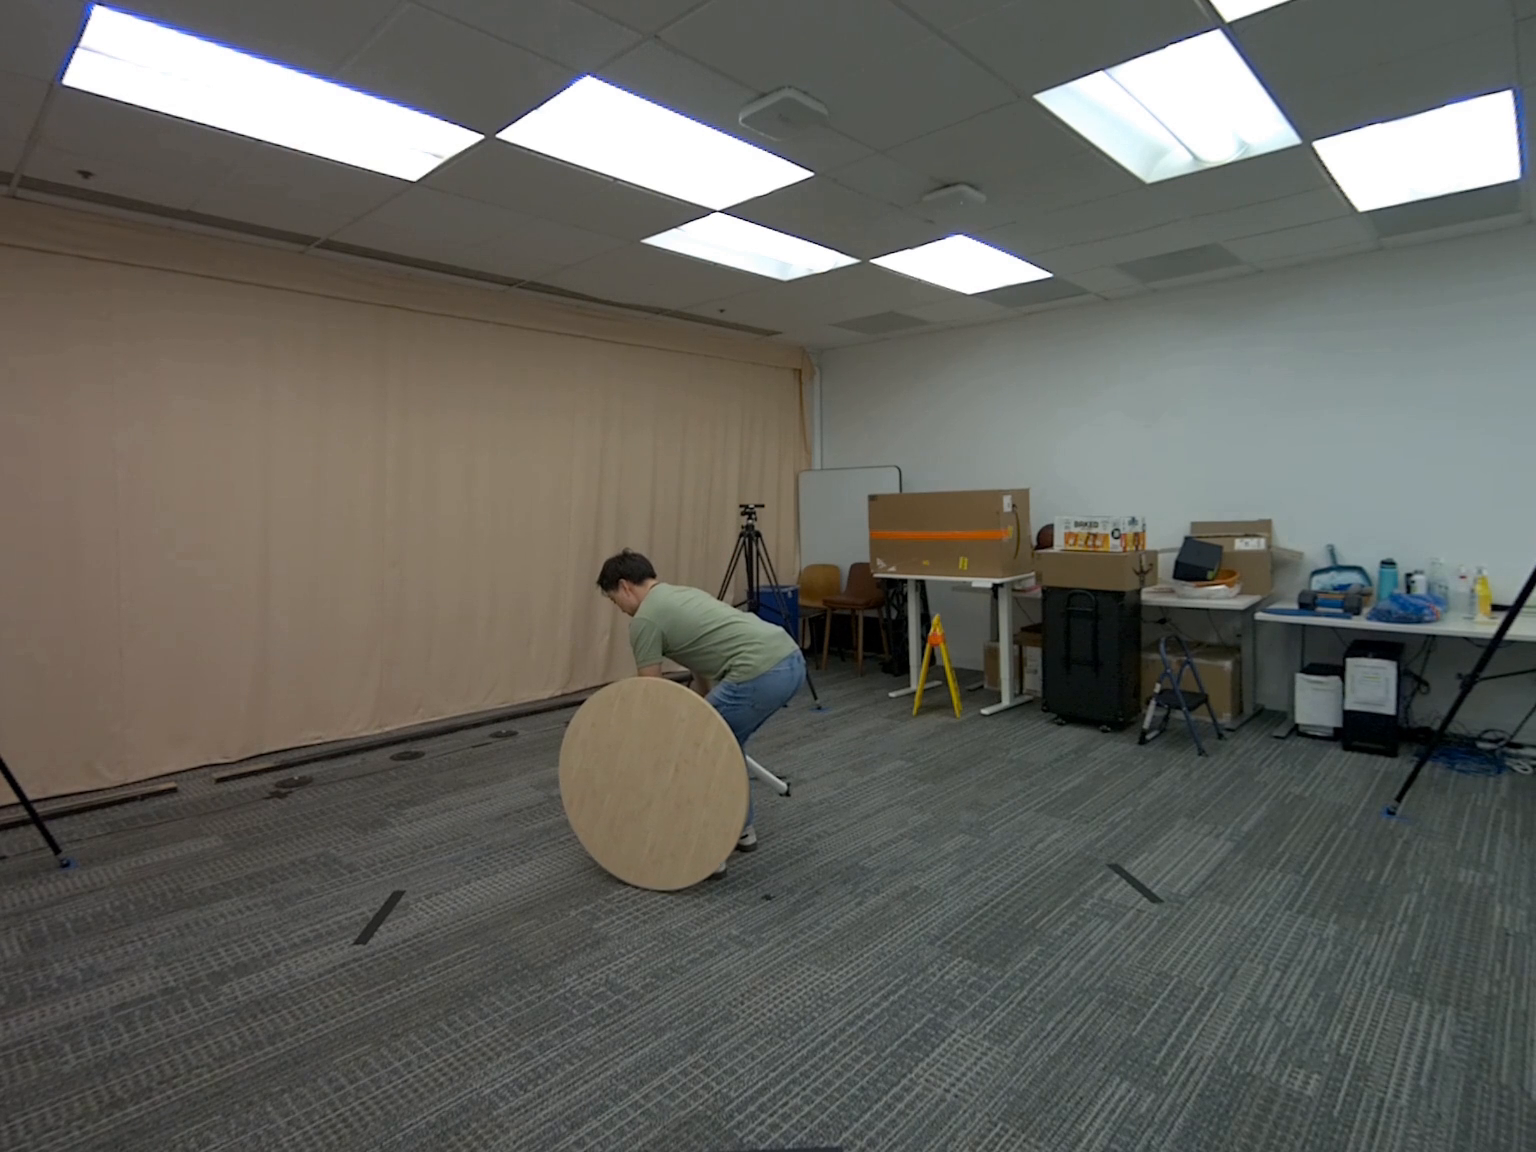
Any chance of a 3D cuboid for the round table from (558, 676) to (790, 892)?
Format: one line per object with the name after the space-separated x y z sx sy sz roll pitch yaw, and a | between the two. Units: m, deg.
-0.300 0.733 3.415 0.781 0.763 0.777 1 2 21 | round table
